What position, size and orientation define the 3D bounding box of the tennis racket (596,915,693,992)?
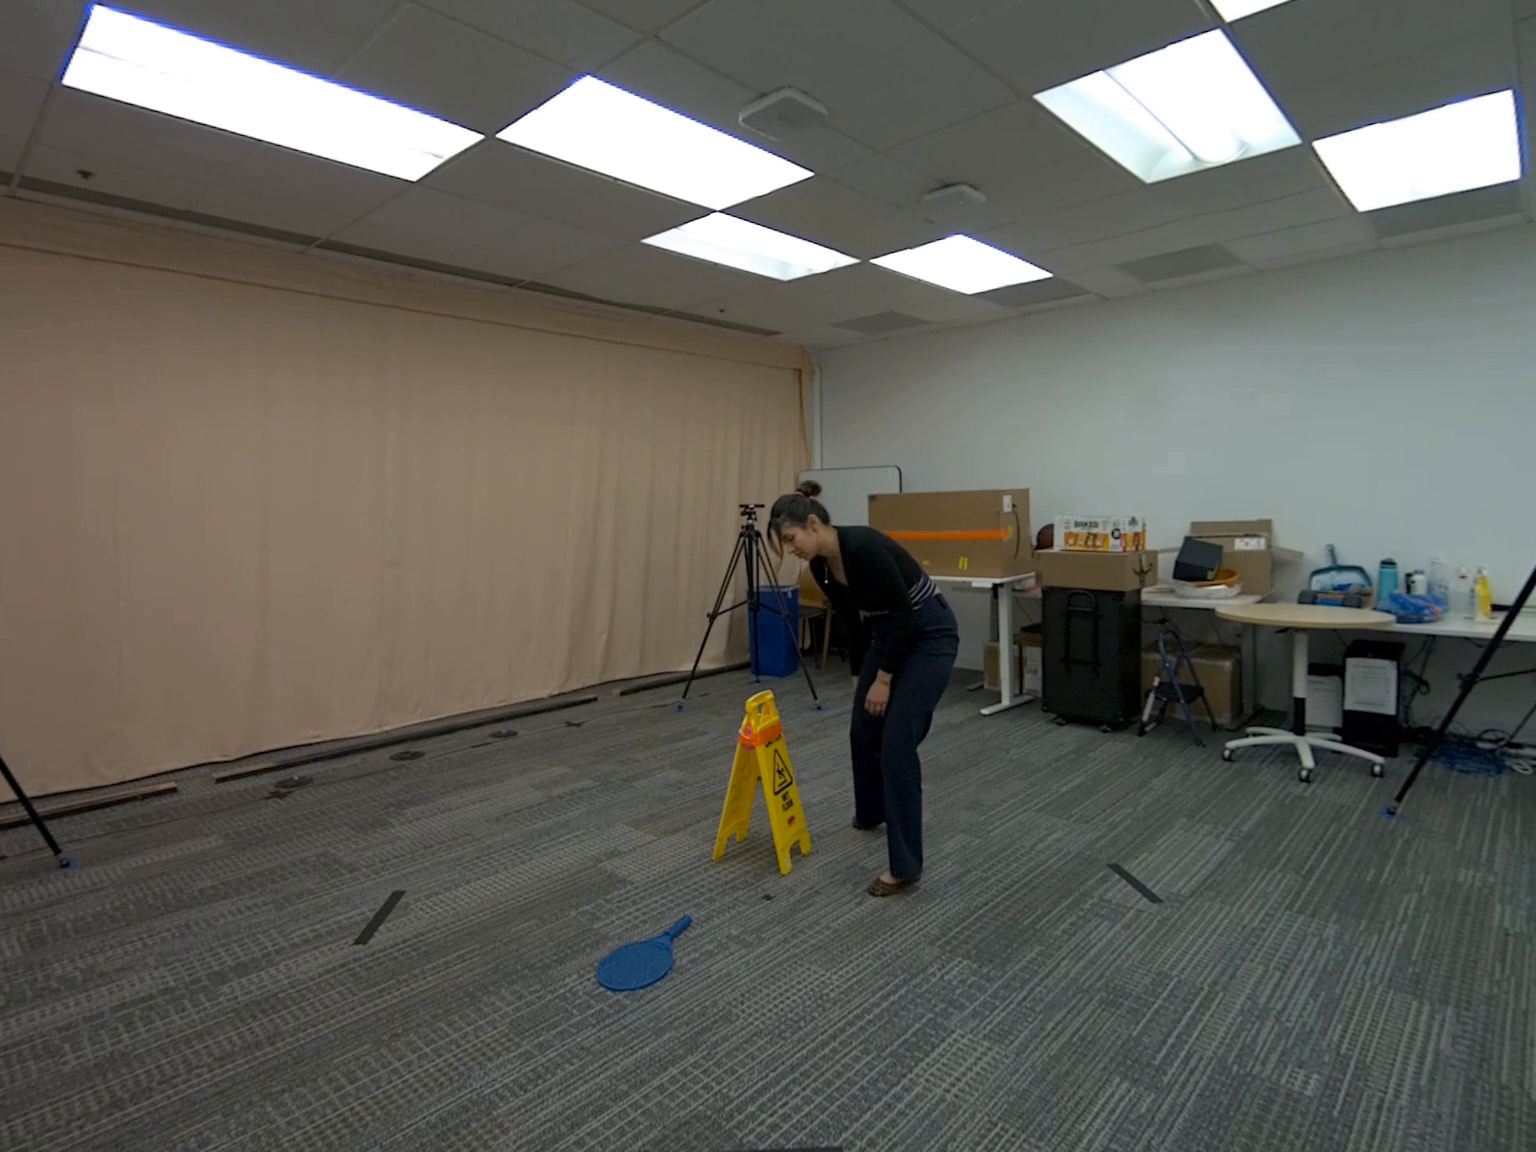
[{"bbox_3d":[-0.363,1.165,2.616,0.219,0.031,0.423,1,7,26],"label":"tennis racket"}]
